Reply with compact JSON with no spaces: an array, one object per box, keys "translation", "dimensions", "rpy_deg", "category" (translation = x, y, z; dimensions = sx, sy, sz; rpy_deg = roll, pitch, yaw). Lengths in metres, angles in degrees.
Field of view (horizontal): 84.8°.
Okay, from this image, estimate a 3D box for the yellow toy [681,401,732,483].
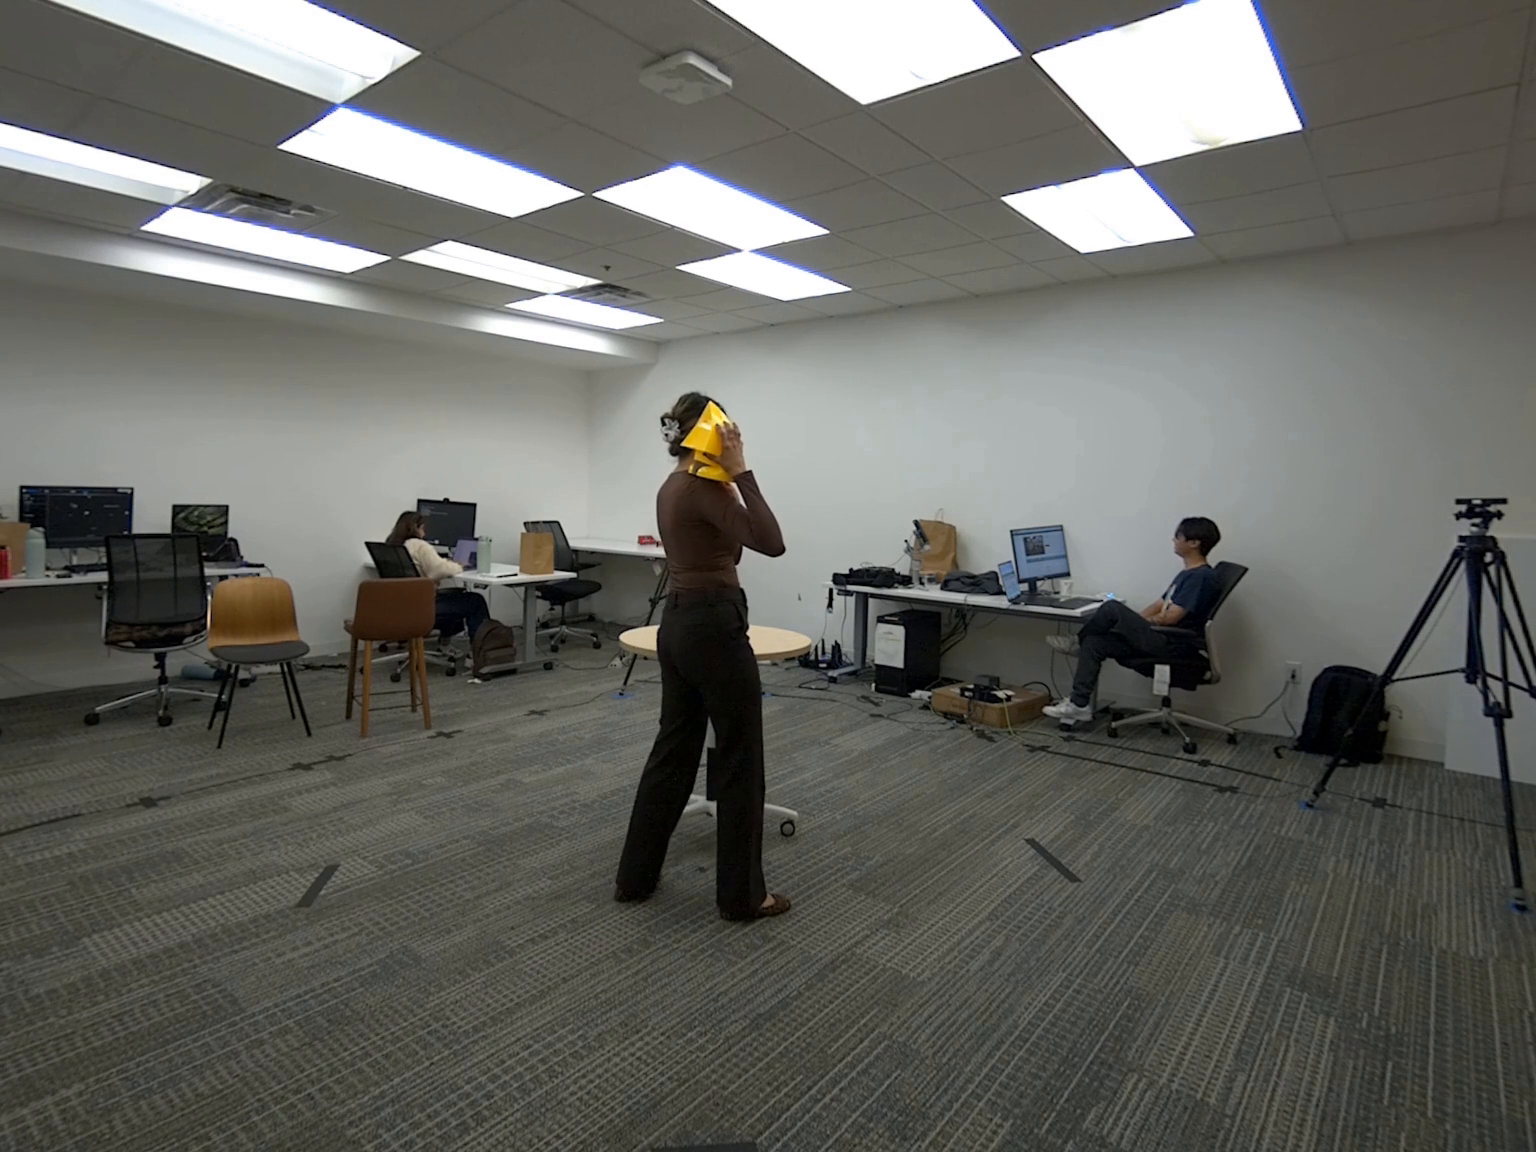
[{"translation":[-0.155,-0.422,2.651],"dimensions":[0.187,0.230,0.212],"rpy_deg":[8,7,-28],"category":"yellow toy"}]
